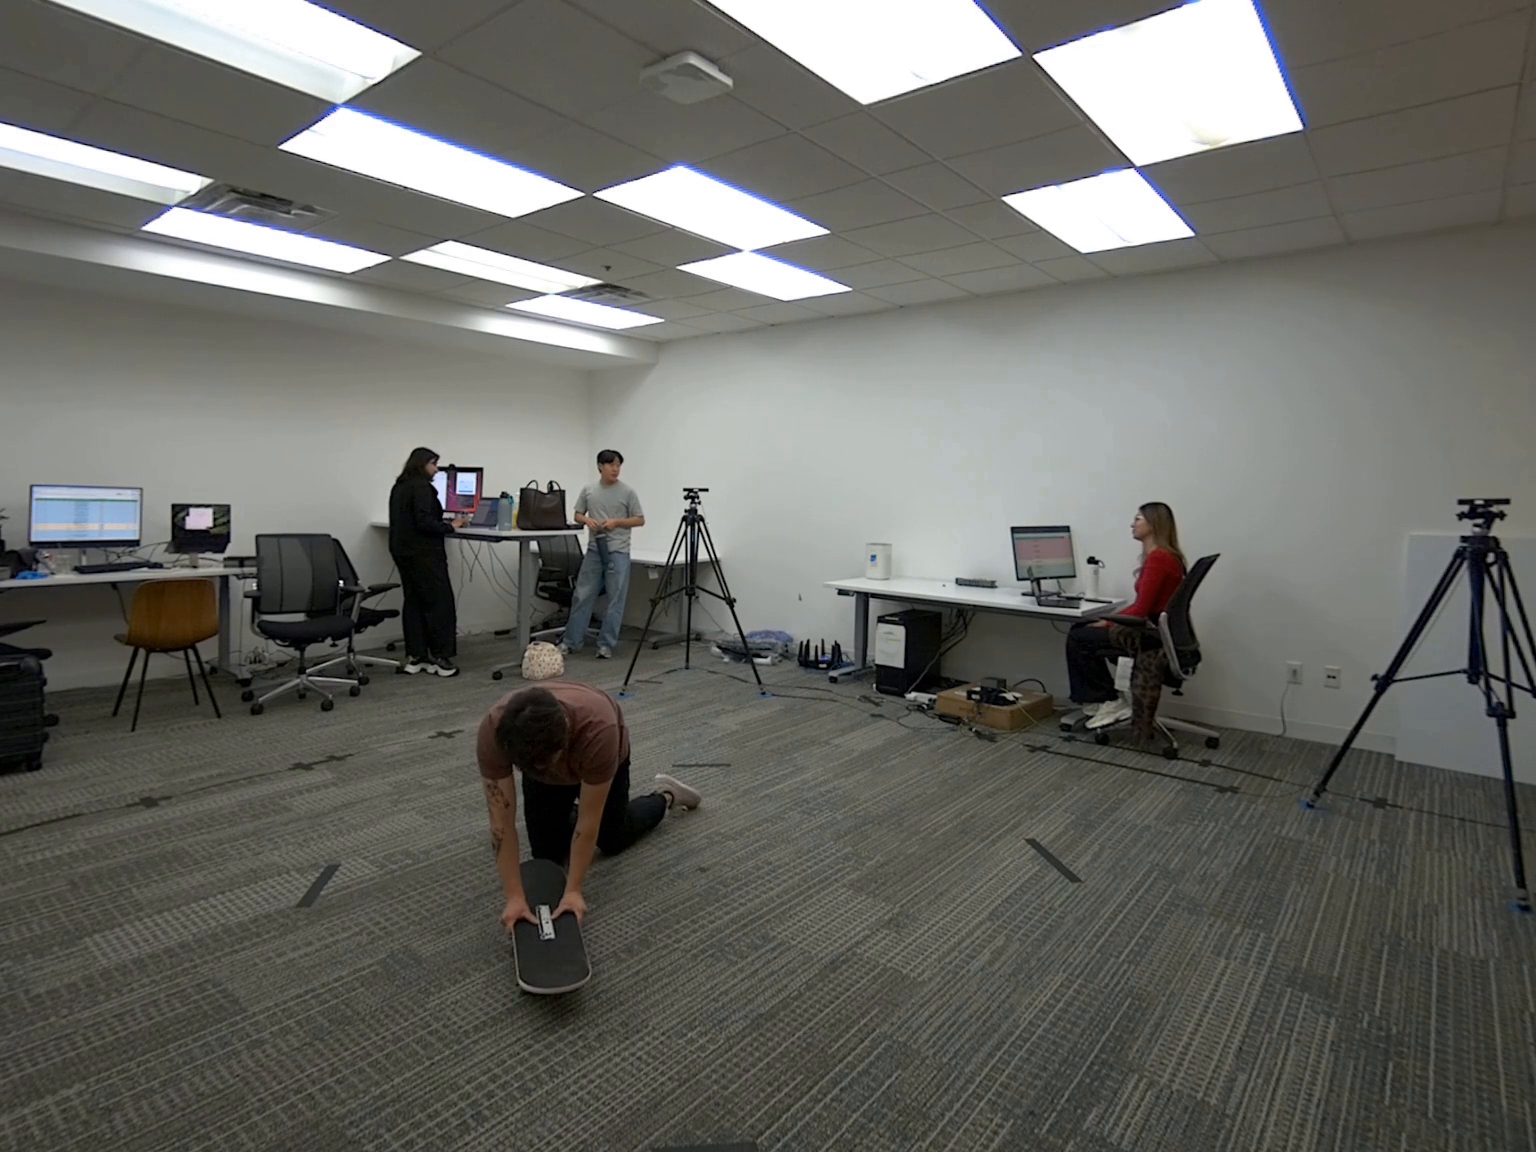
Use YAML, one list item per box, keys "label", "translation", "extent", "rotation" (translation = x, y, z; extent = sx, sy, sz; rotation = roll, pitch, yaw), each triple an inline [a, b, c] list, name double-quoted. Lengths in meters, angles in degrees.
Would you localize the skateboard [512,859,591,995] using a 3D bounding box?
- label: "skateboard"
  translation: [-0.679, 1.062, 2.549]
  extent: [0.190, 0.110, 0.803]
  rotation: [0, 6, -19]
